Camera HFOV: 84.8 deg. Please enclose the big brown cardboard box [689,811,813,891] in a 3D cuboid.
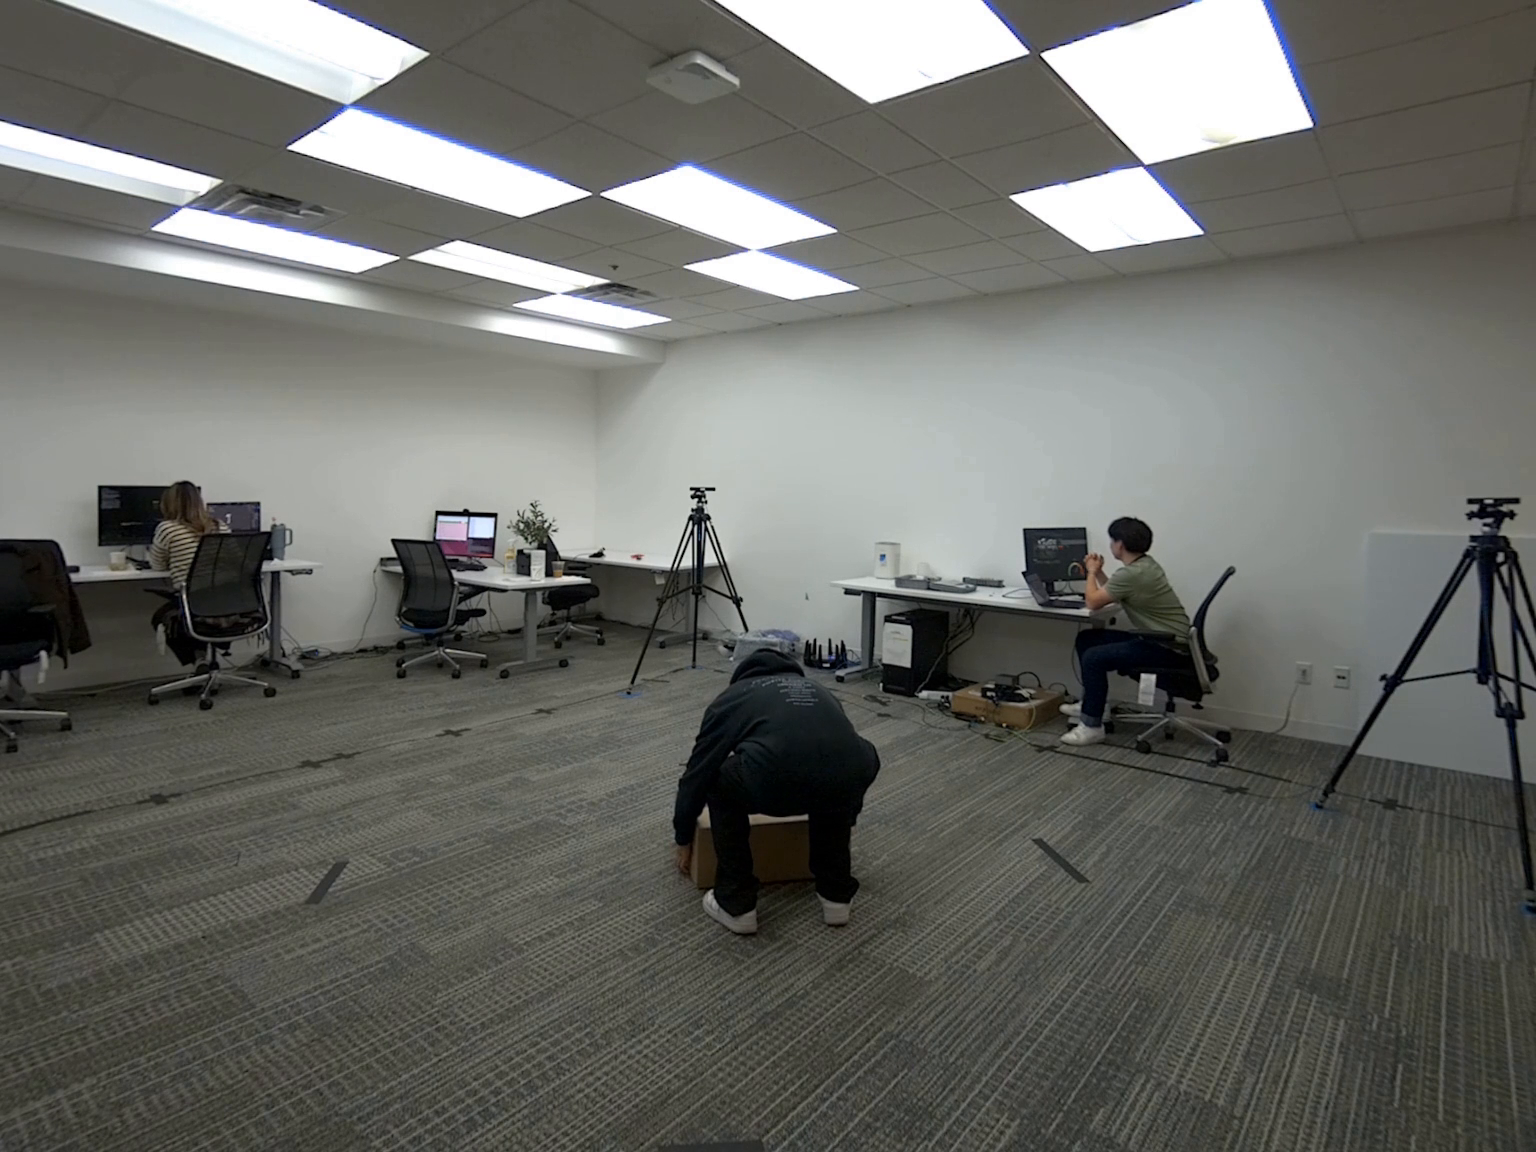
[{"bbox_3d":[-0.040,0.945,3.189,0.581,0.232,0.425,1,5,-14],"label":"big brown cardboard box"}]
